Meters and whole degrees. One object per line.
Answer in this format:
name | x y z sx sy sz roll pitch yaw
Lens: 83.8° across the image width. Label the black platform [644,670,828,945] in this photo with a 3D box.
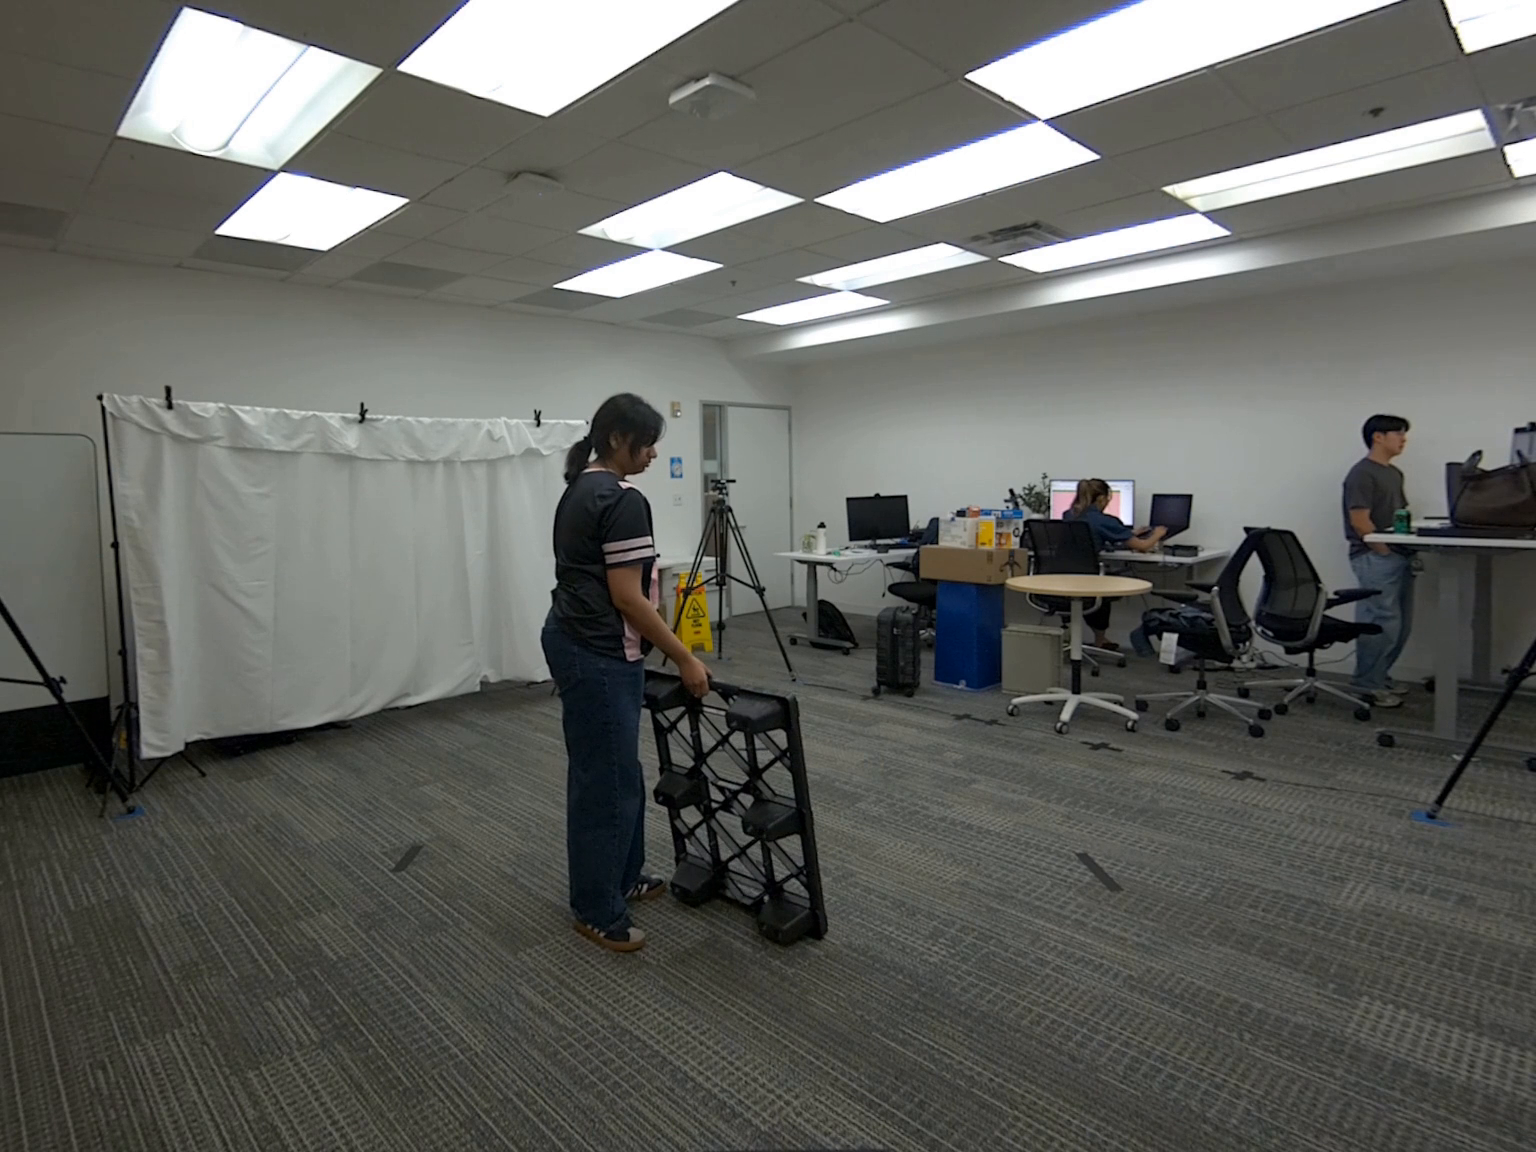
black platform | -0.138 0.713 2.660 0.623 0.795 0.141 3 17 40
